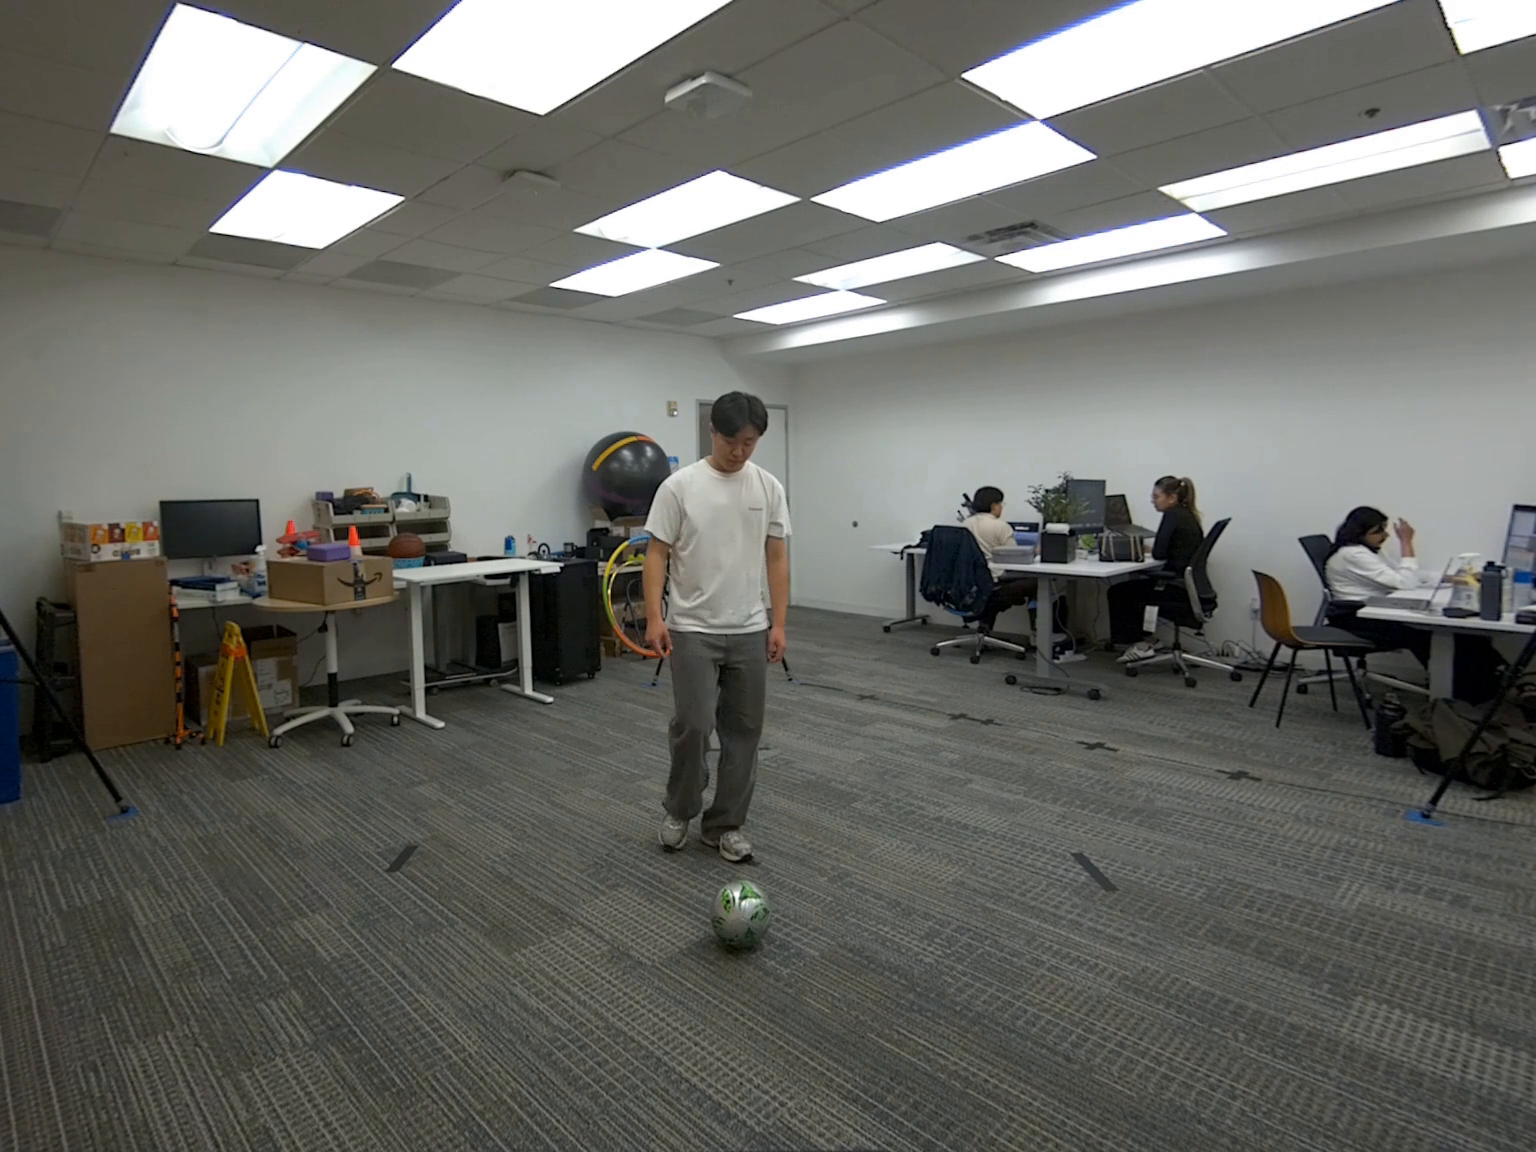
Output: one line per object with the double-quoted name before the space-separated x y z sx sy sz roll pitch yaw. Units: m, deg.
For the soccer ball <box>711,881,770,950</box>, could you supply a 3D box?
"soccer ball" -0.080 1.024 2.573 0.187 0.187 0.188 -1 5 -2
